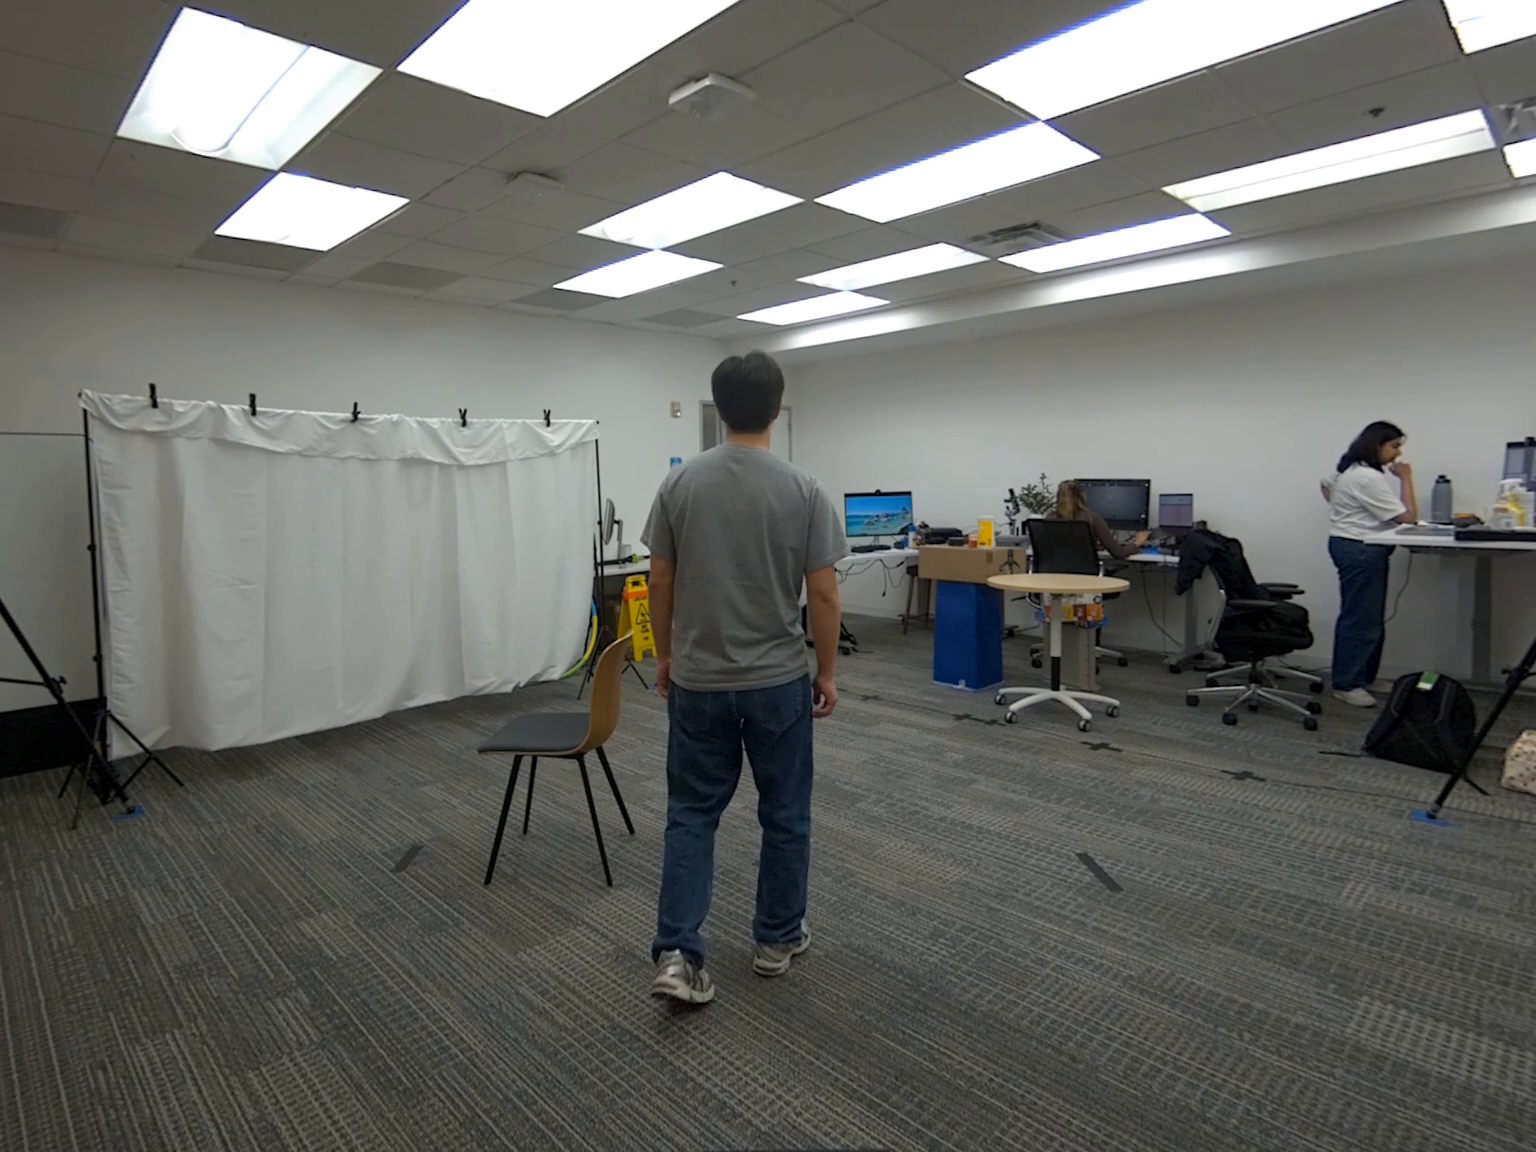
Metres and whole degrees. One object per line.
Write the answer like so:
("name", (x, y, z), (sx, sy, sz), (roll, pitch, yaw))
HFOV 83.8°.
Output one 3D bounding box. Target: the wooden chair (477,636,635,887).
("wooden chair", (-0.777, 0.633, 3.149), (0.525, 0.874, 0.479), (2, 4, 2))
